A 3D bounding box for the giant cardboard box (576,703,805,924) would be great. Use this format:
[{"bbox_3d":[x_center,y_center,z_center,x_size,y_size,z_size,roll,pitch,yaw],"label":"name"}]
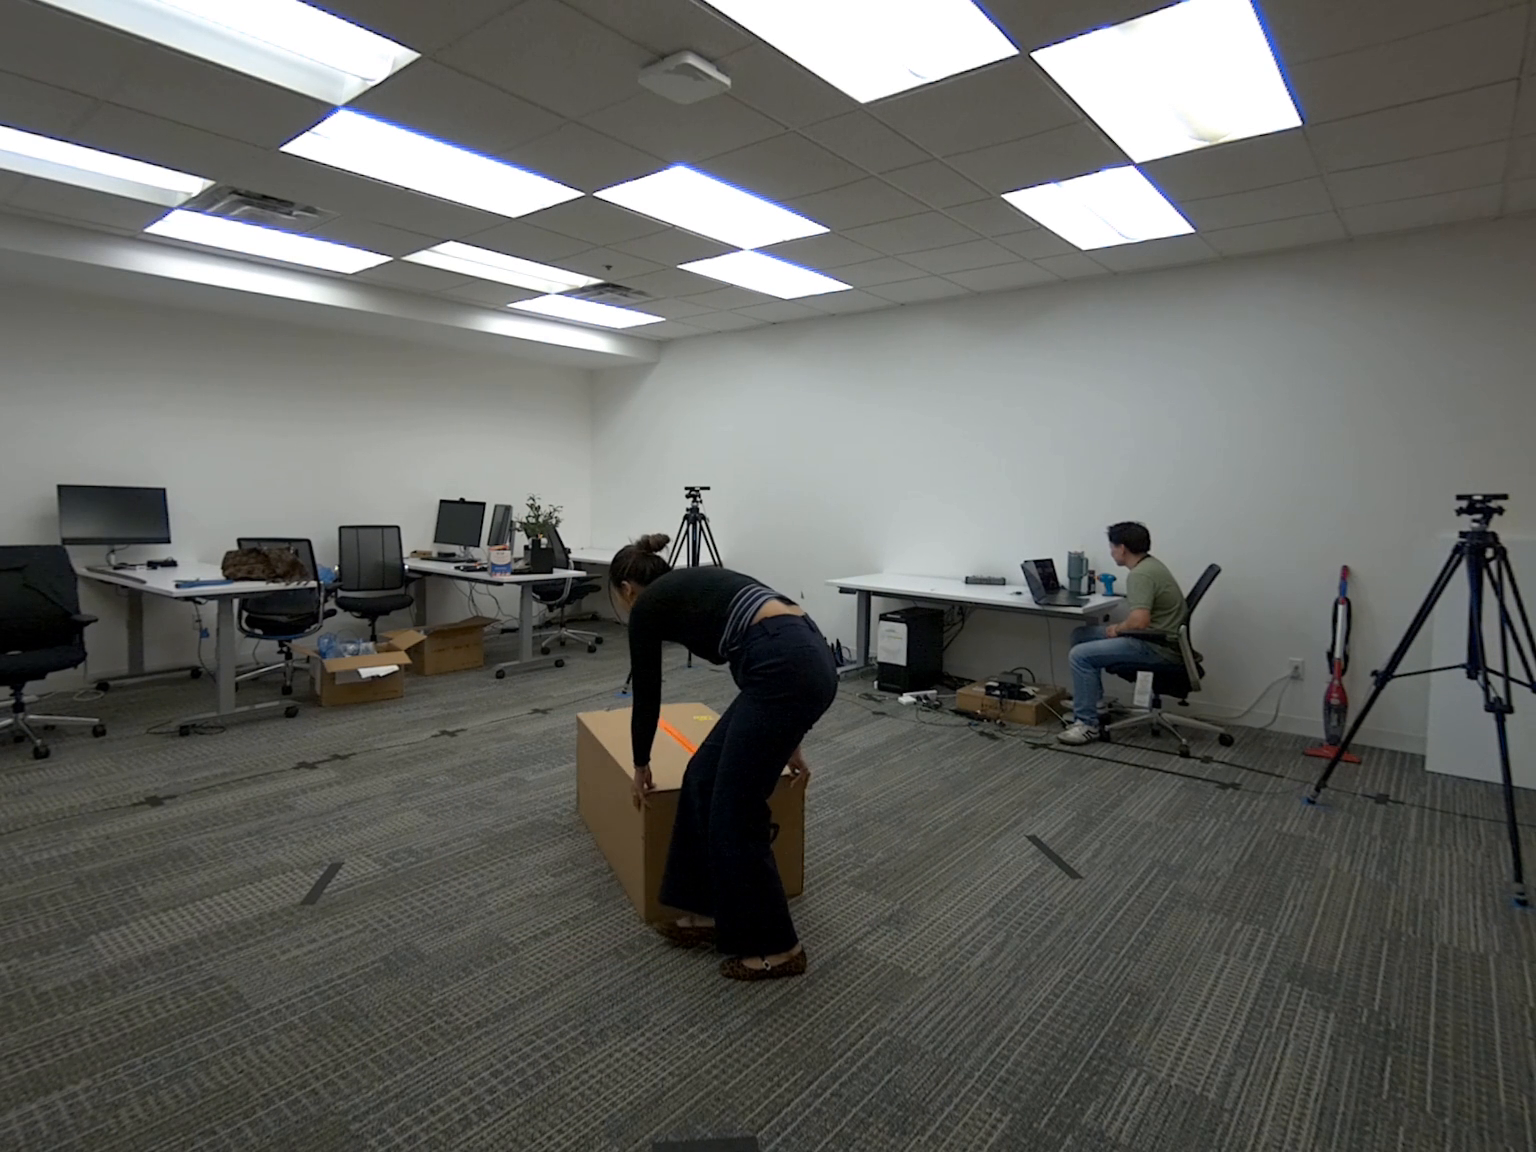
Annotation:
[{"bbox_3d":[-0.360,0.830,3.262,0.564,0.425,1.053,-1,6,-24],"label":"giant cardboard box"}]
